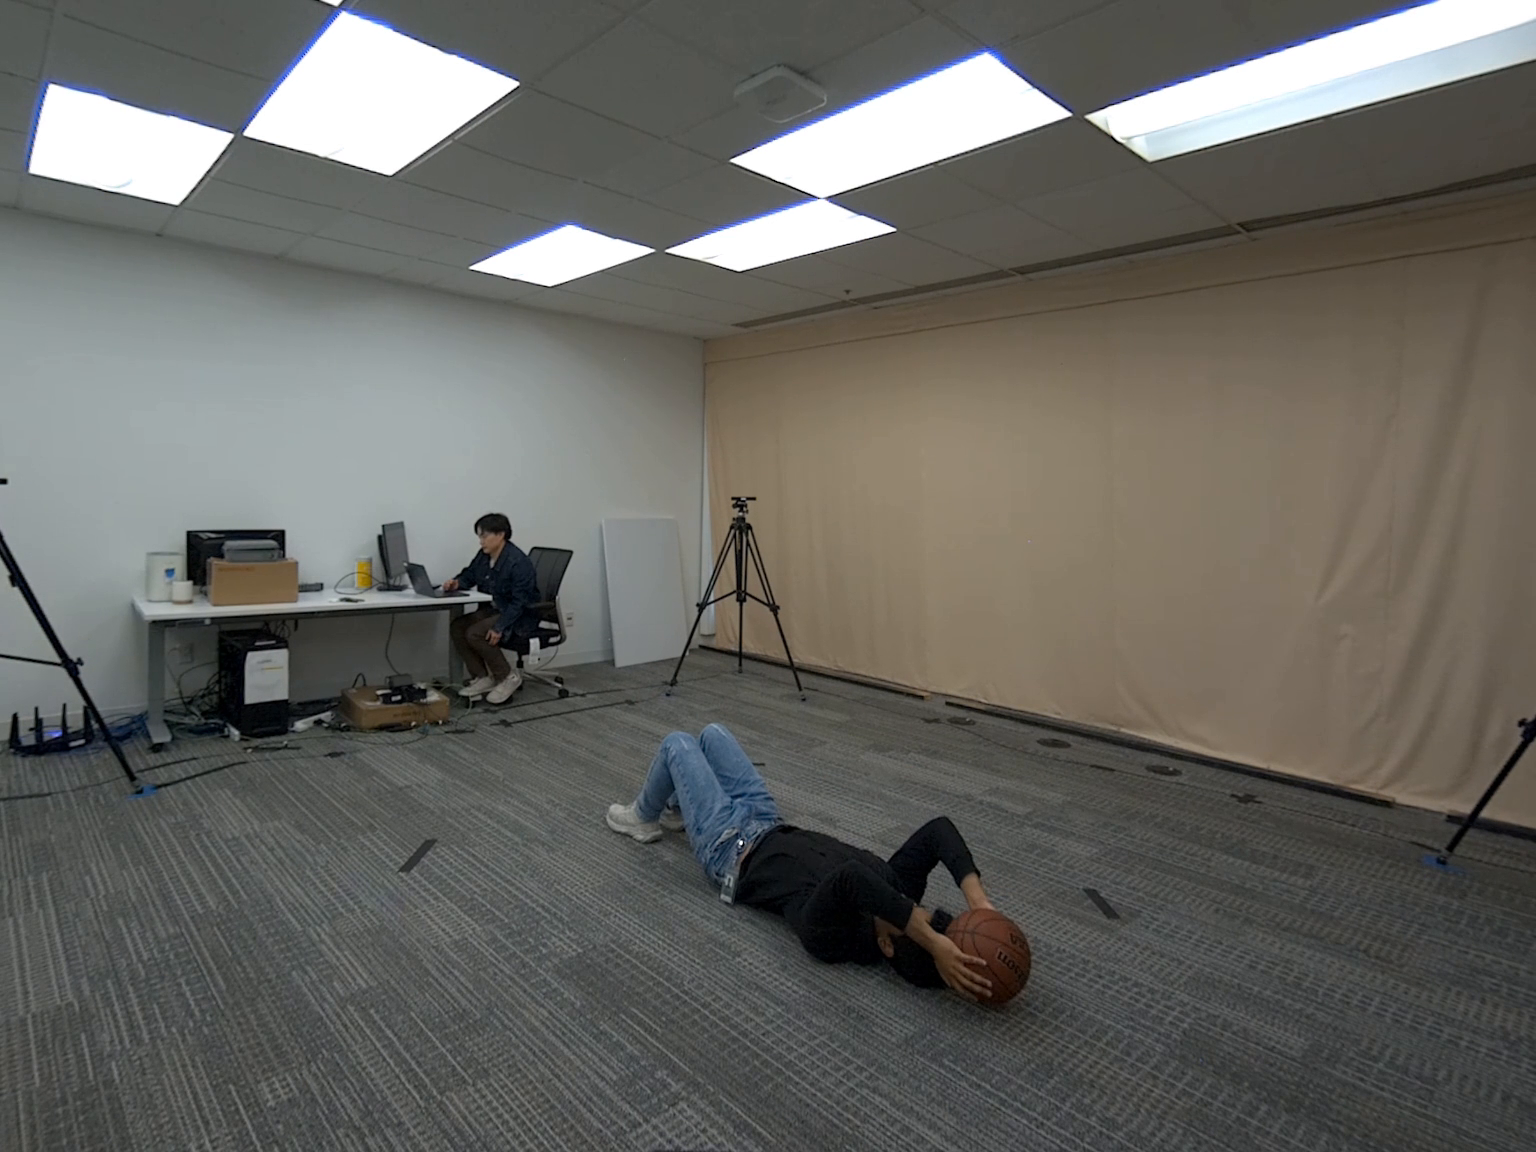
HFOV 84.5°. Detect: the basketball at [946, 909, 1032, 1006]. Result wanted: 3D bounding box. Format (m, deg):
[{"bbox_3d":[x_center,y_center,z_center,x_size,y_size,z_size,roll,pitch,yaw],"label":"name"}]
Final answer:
[{"bbox_3d":[0.598,1.057,2.349,0.236,0.235,0.237,1,4,-1],"label":"basketball"}]
